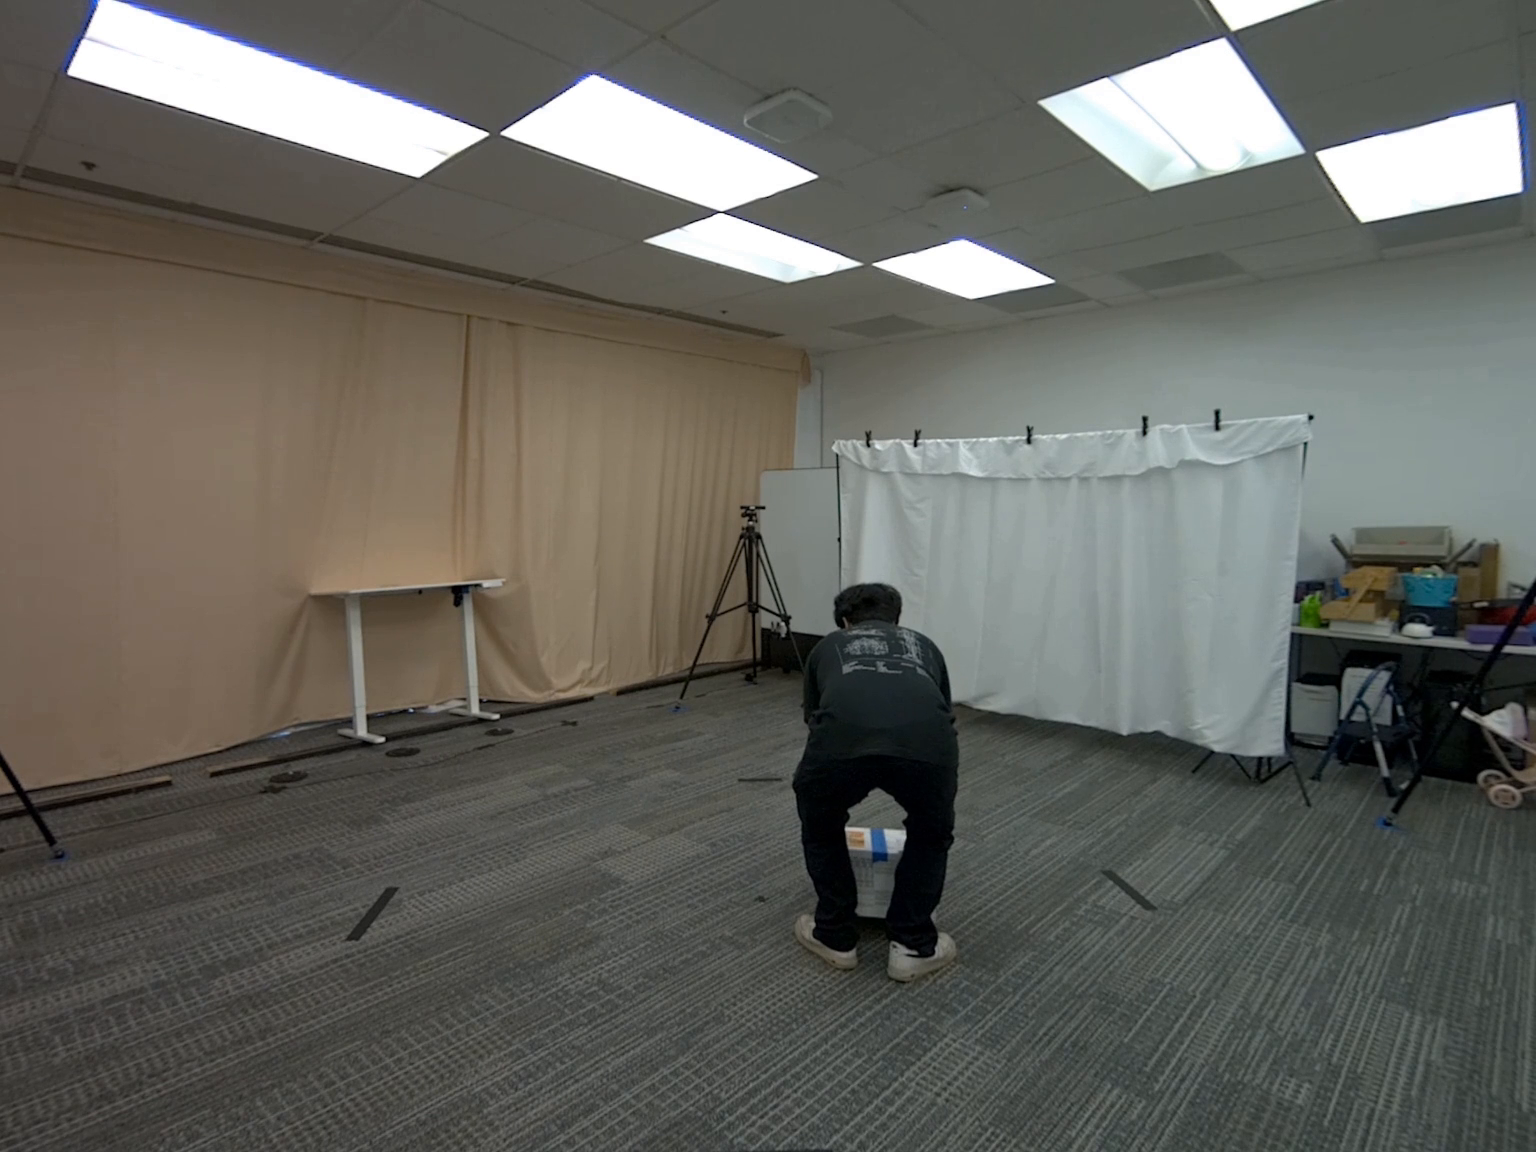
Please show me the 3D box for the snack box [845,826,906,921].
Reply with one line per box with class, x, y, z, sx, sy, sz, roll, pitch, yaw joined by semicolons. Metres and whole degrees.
snack box;0.390;1.013;2.893;0.343;0.206;0.400;1;-6;6
